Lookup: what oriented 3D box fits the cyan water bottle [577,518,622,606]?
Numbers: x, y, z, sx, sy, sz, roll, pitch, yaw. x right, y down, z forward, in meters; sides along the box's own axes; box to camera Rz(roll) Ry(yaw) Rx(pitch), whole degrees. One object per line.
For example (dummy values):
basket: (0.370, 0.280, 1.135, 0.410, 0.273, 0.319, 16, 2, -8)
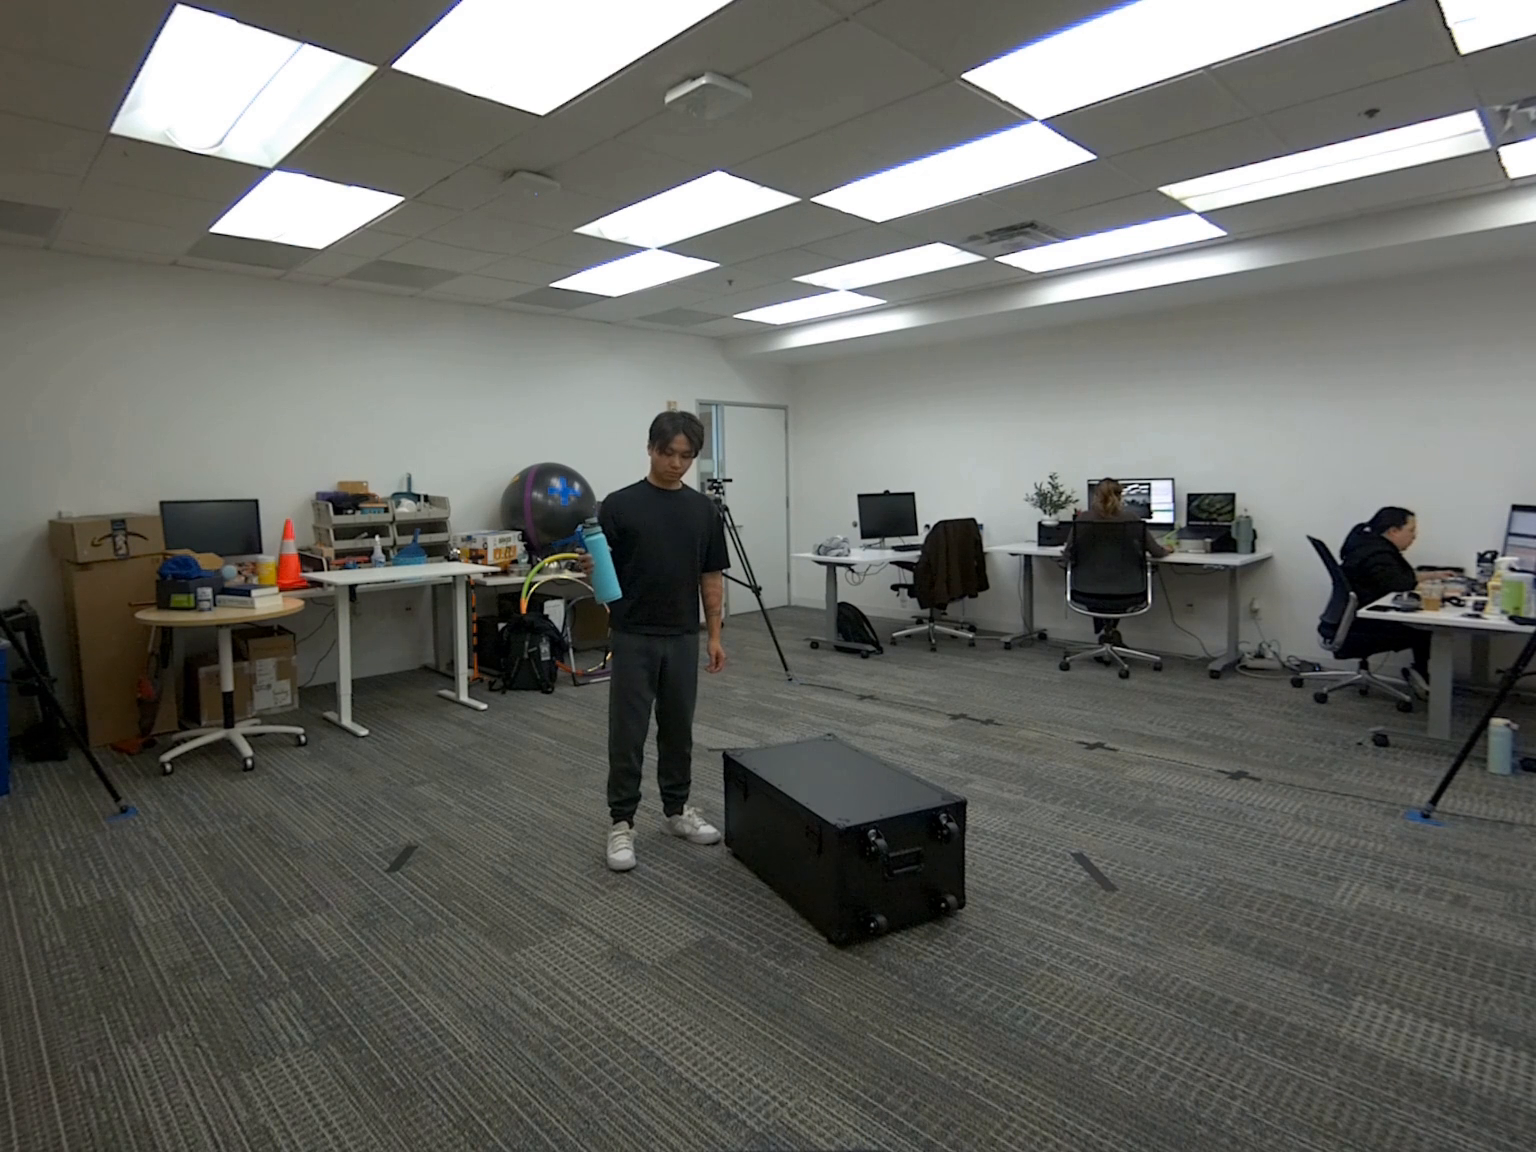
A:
cyan water bottle: (-0.581, -0.049, 2.884, 0.092, 0.281, 0.093, -16, 6, 0)
